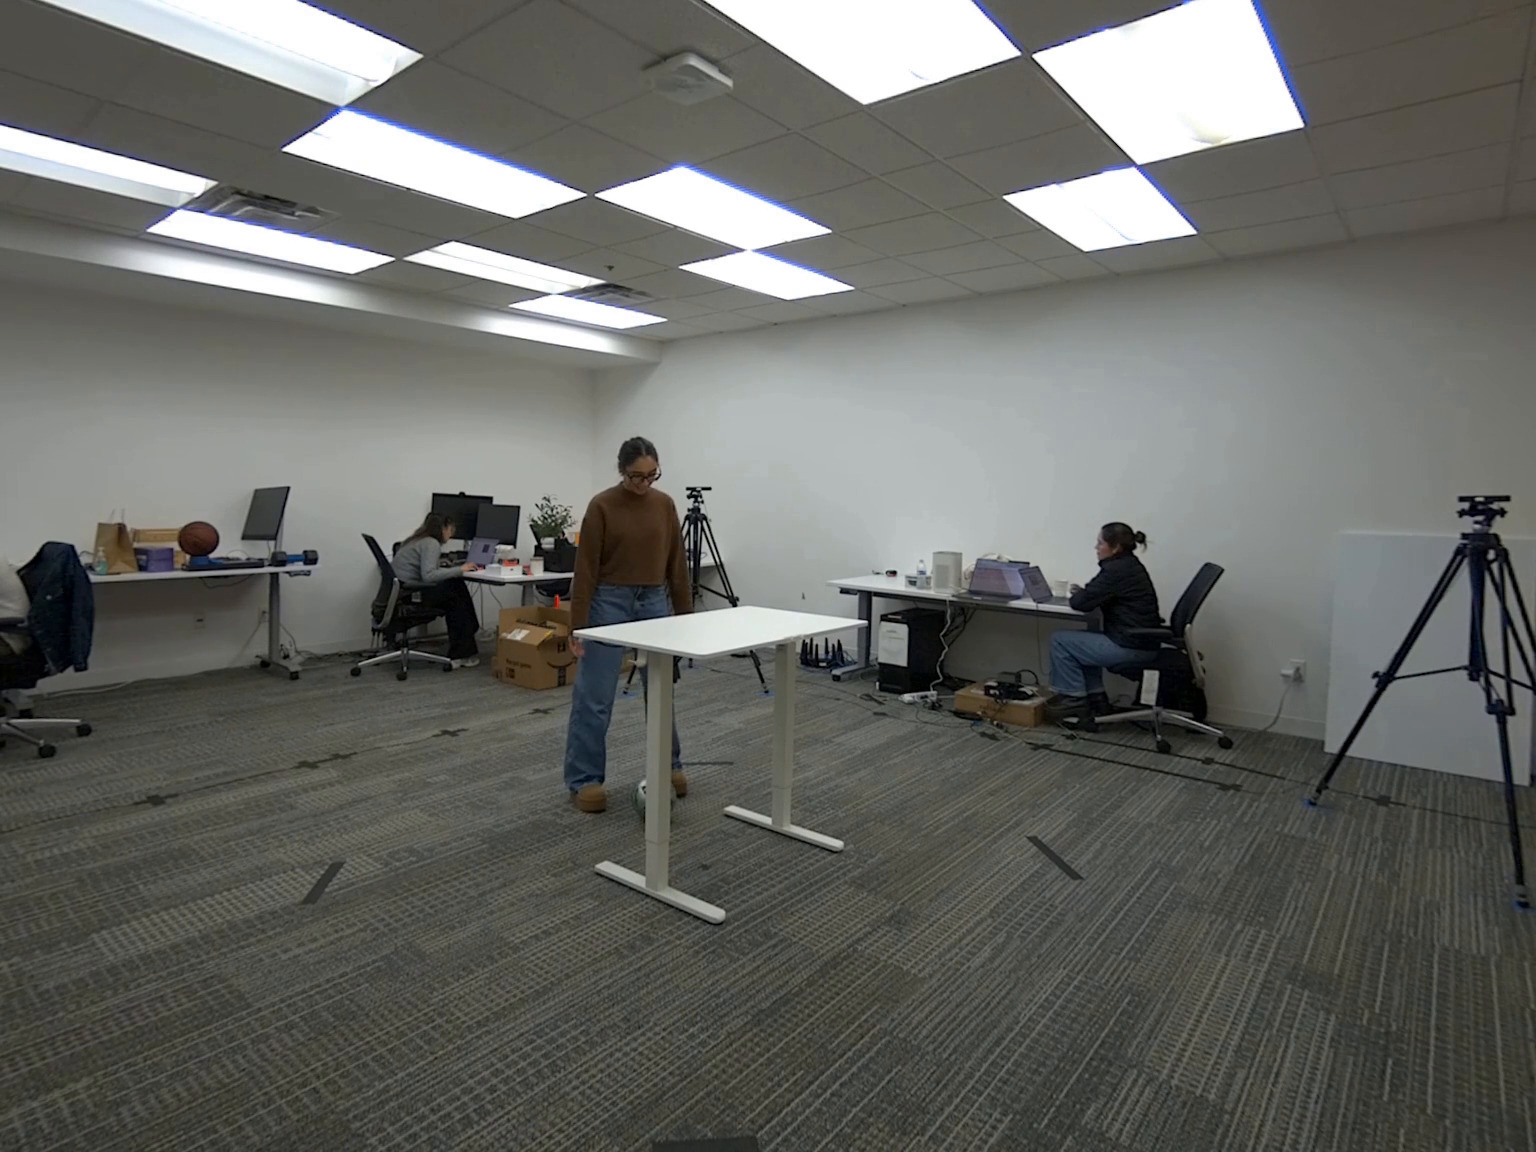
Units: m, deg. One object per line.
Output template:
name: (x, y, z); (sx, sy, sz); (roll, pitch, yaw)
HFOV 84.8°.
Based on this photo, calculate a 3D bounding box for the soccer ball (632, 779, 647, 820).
soccer ball: (-0.494, 0.918, 3.559); (0.187, 0.187, 0.188); (1, 4, -2)
